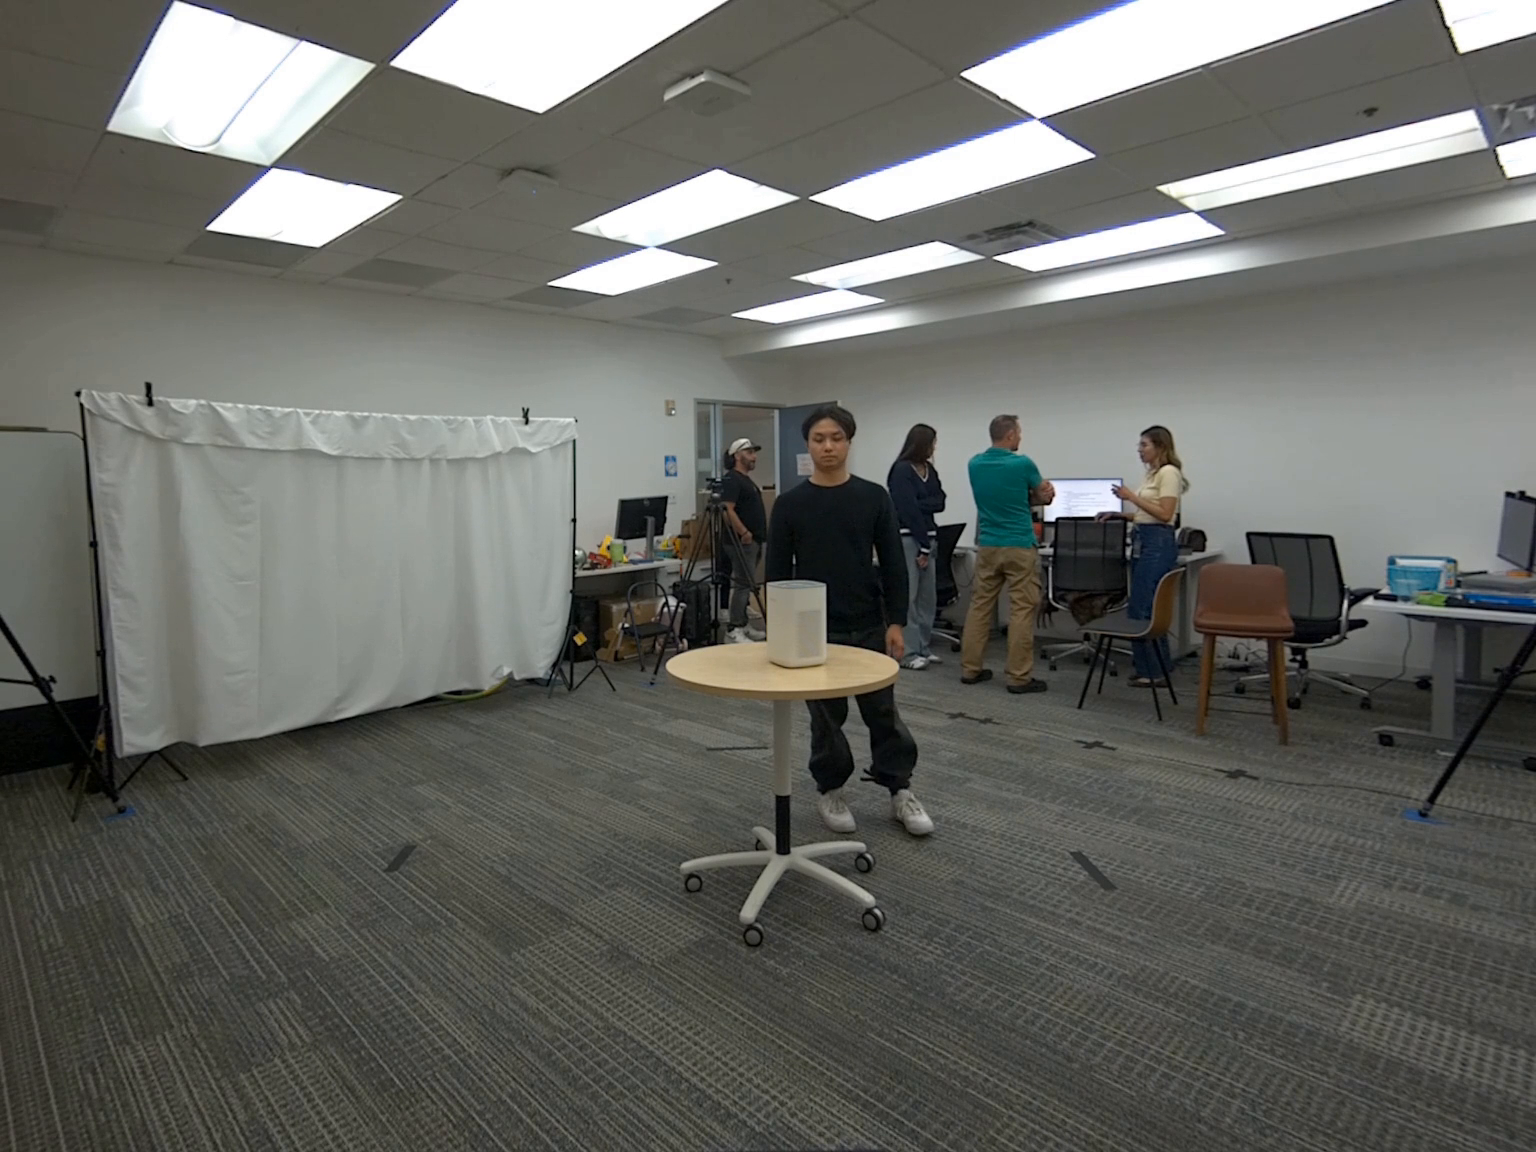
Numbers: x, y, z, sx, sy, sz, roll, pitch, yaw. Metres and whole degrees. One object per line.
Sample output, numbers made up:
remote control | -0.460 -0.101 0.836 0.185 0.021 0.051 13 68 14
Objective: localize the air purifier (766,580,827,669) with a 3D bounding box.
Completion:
air purifier | 0.092 0.158 2.819 0.167 0.264 0.176 -2 5 -29
